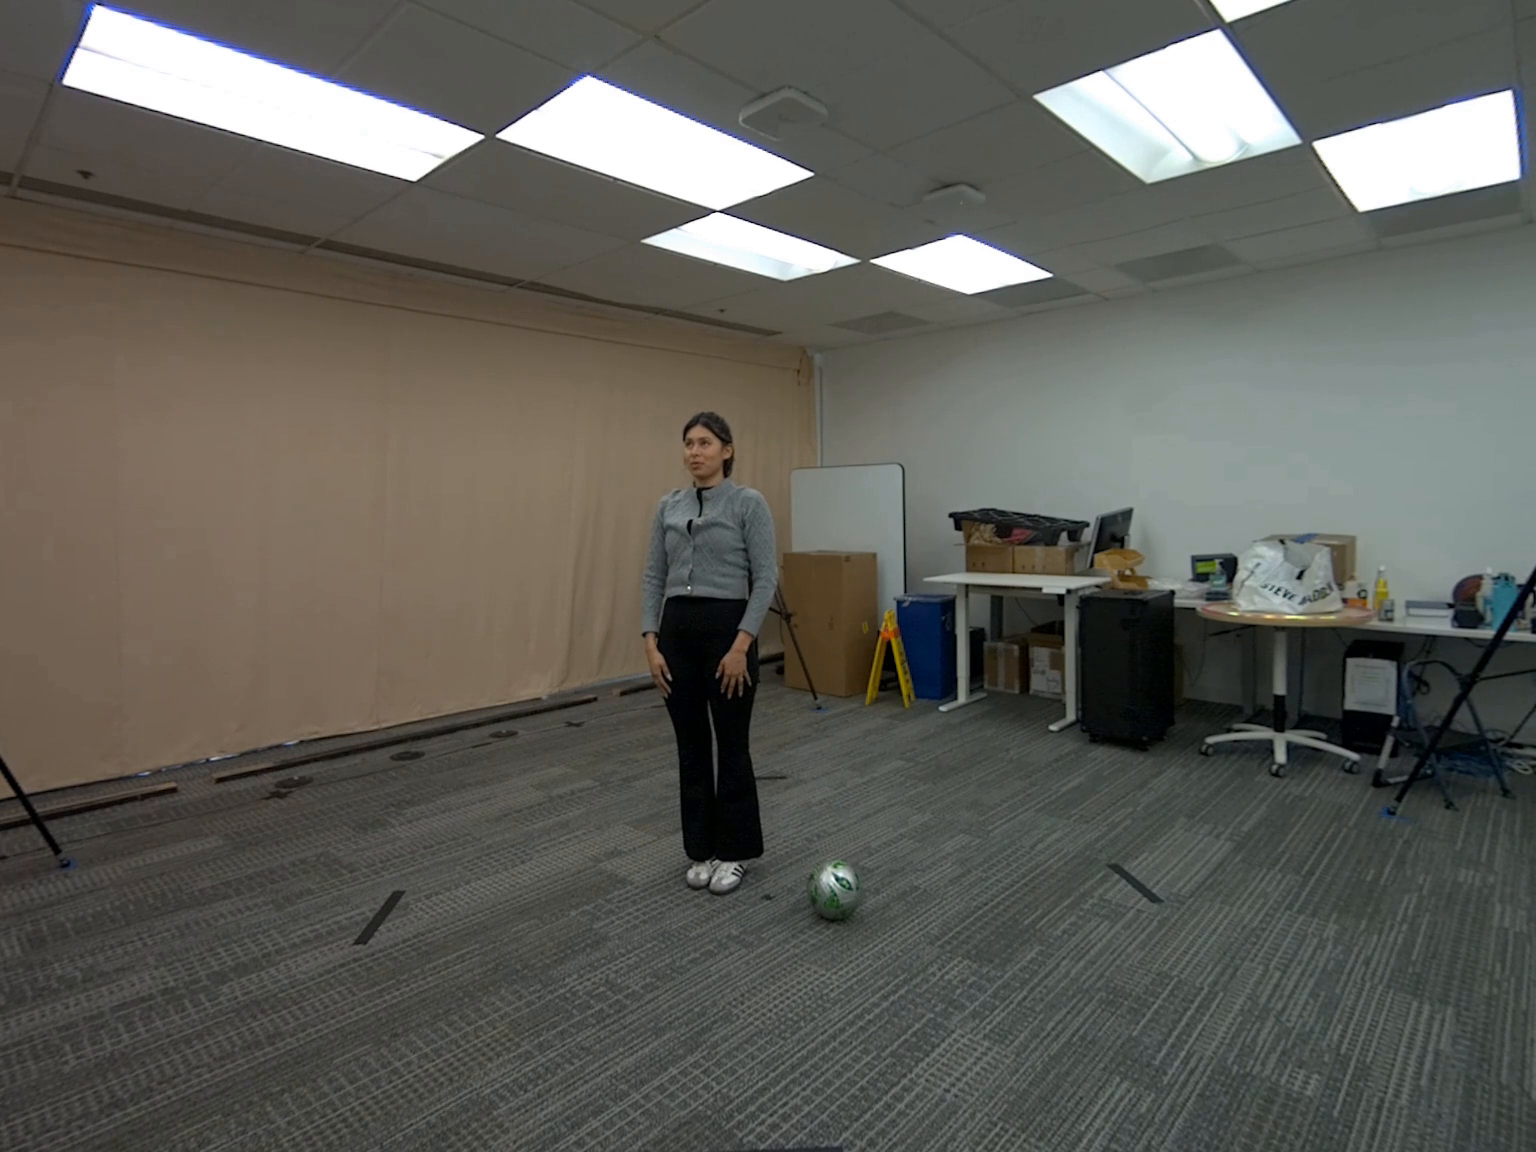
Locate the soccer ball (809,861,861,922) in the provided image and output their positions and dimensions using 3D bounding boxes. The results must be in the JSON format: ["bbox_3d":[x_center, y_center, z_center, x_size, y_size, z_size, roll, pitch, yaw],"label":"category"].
[{"bbox_3d":[0.226,1.049,2.834,0.187,0.187,0.188,-1,4,-2],"label":"soccer ball"}]
